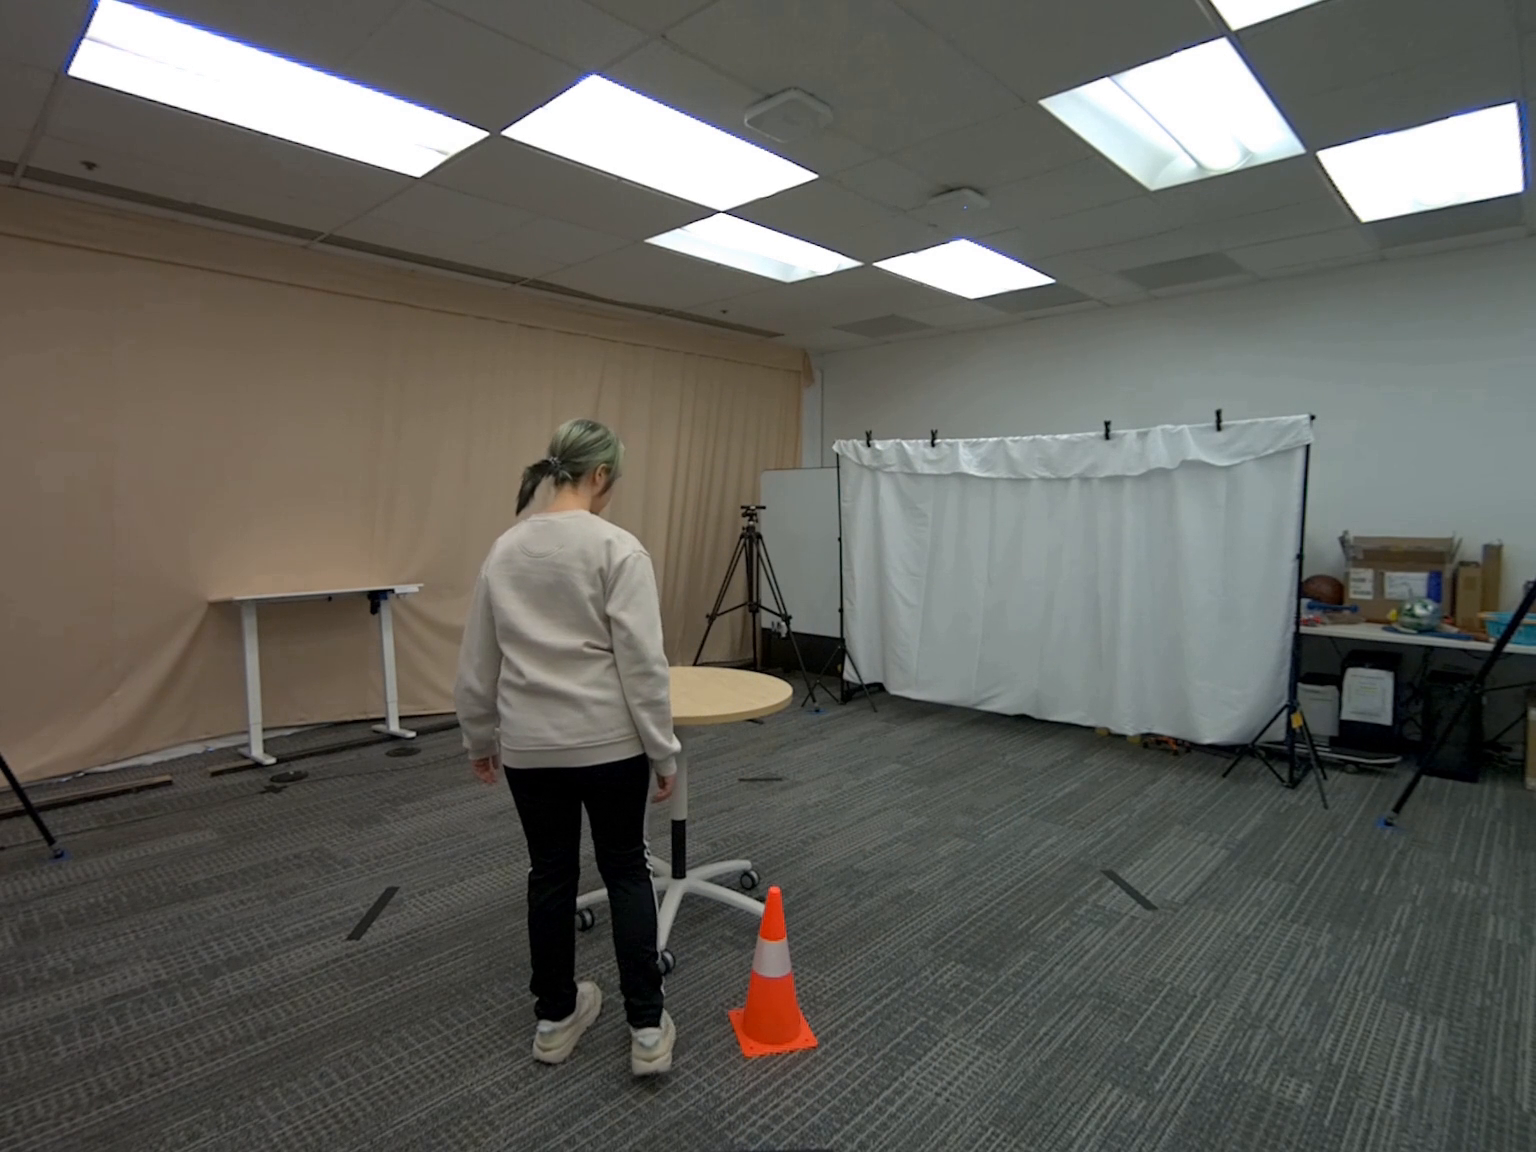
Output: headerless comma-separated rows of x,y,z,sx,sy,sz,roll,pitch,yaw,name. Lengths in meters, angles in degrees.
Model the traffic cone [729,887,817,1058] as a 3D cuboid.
0.017,1.026,2.222,0.200,0.382,0.208,-1,5,-14,traffic cone
